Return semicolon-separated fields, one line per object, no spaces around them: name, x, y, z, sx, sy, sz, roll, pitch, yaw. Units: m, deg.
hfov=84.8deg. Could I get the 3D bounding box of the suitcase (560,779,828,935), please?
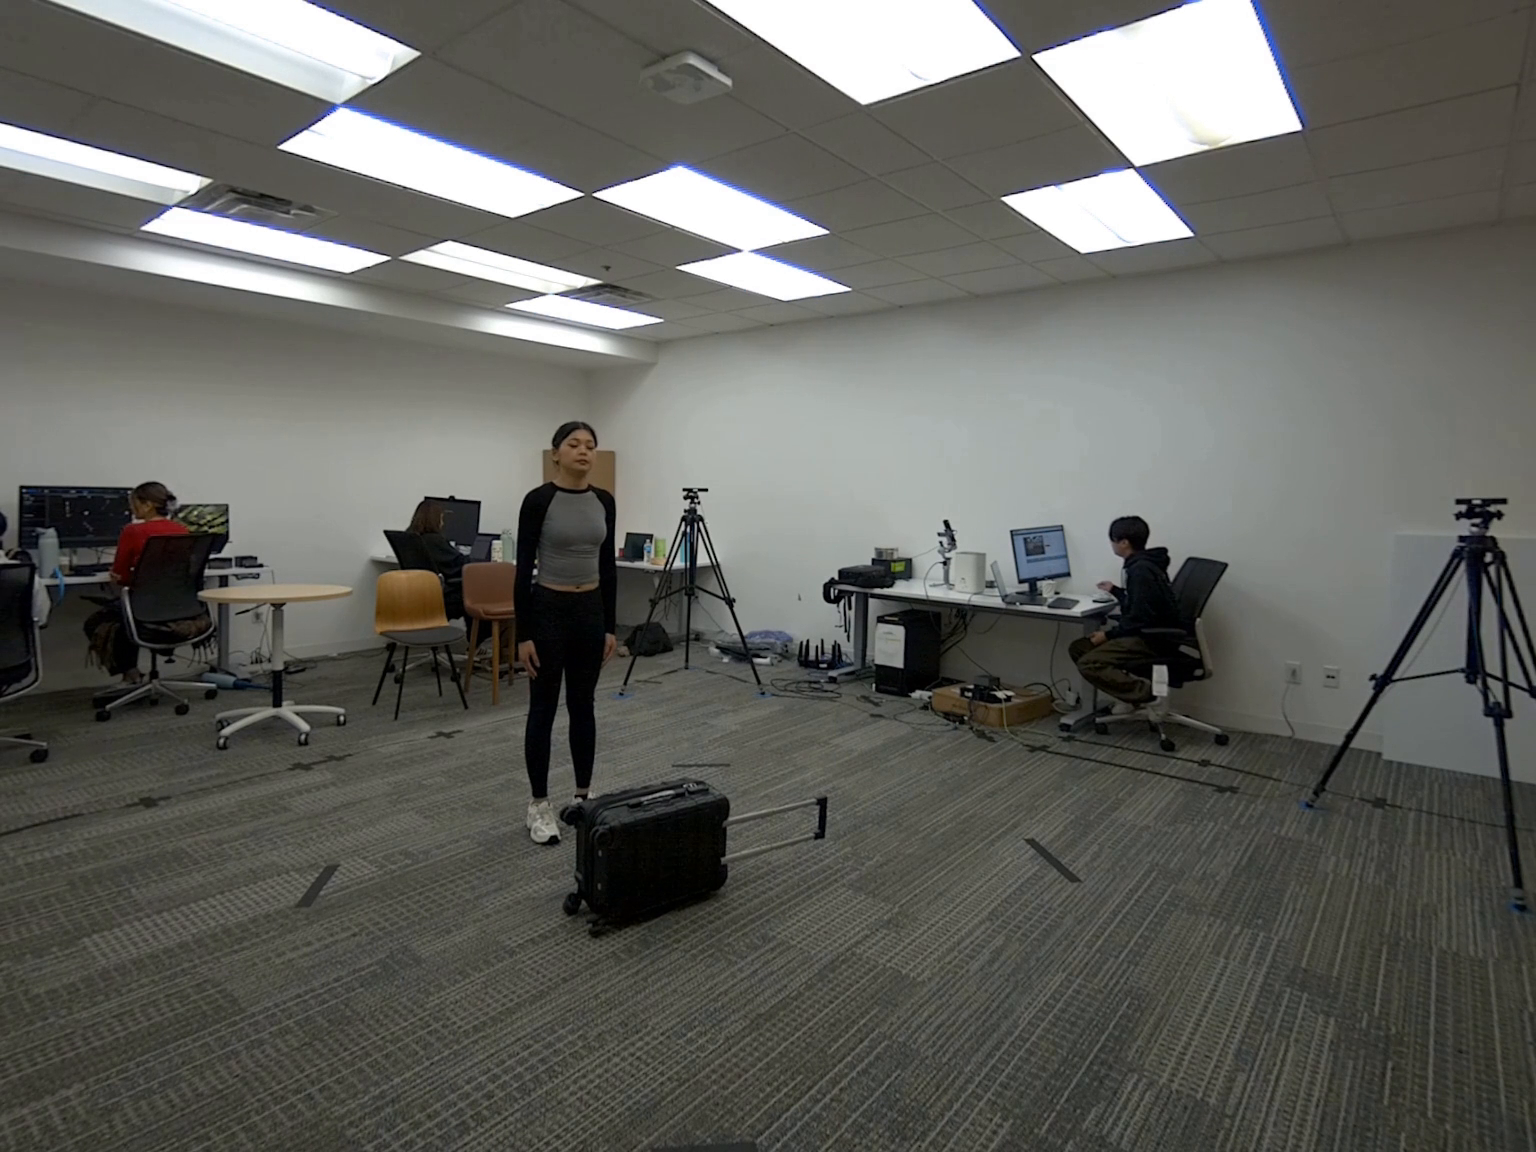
suitcase;-0.245;0.892;2.975;0.950;0.383;0.266;-4;6;-39
